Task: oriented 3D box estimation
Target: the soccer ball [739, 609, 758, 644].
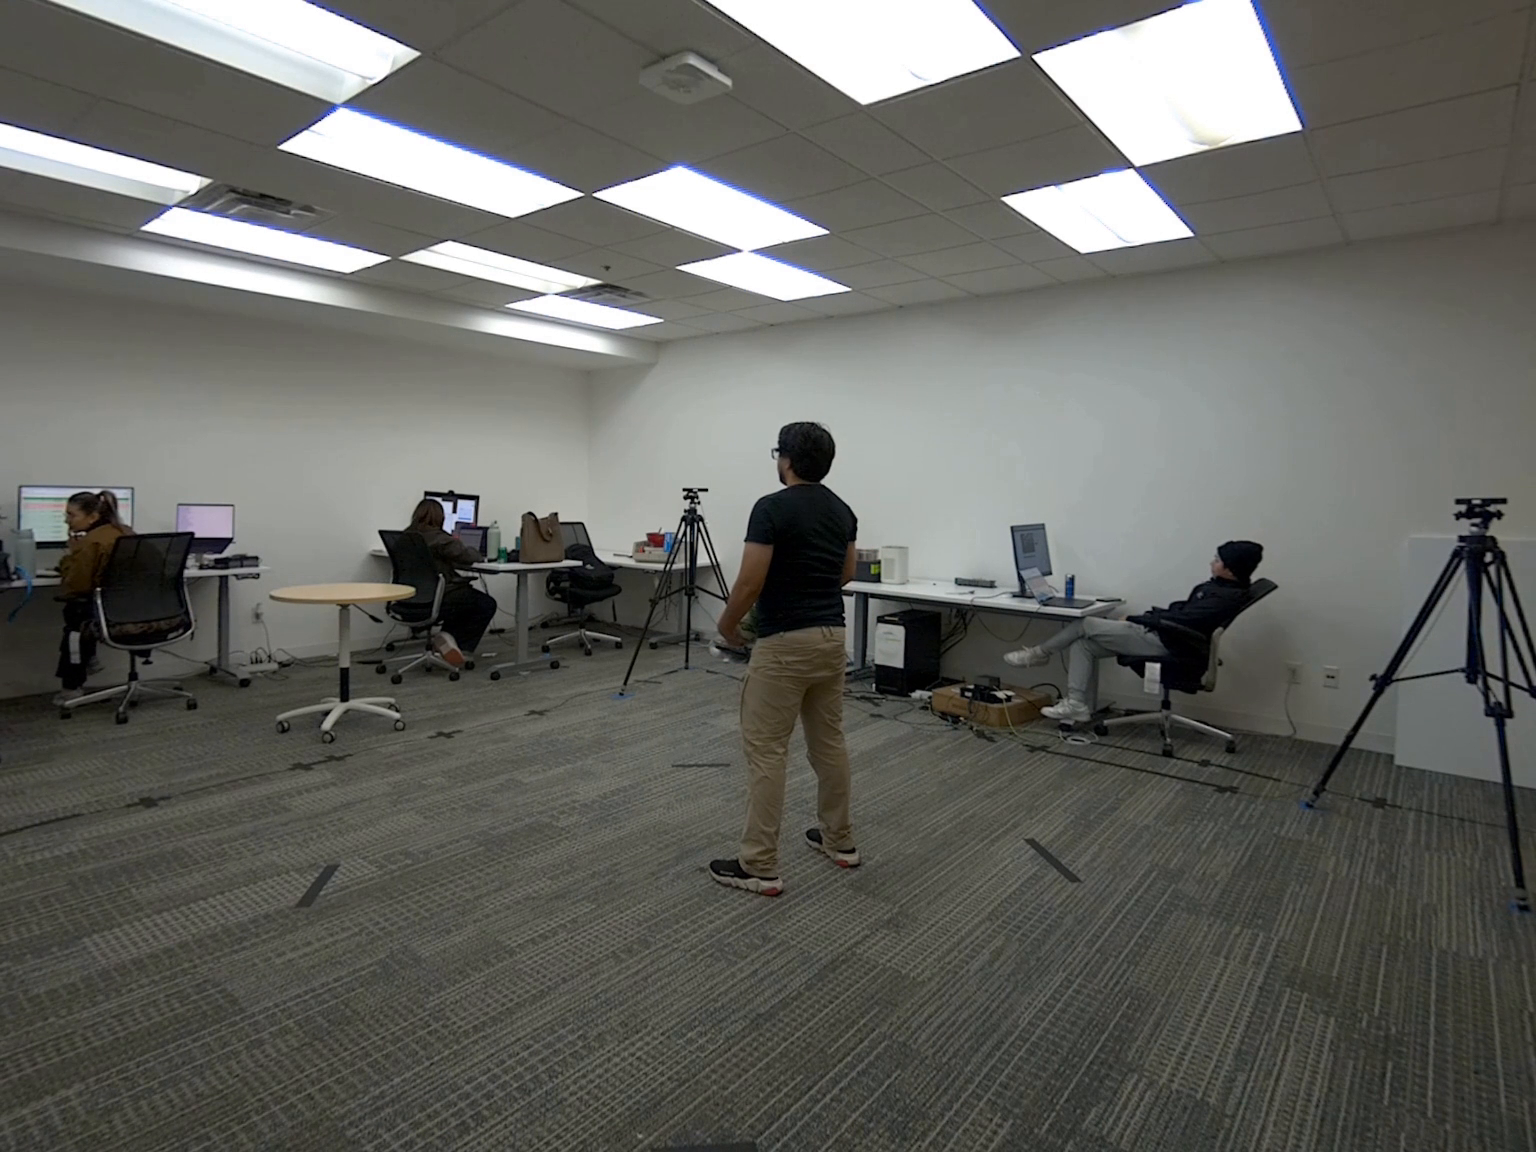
[{"bbox_3d":[-0.085,0.171,3.315,0.187,0.187,0.188,1,4,-2],"label":"soccer ball"}]
